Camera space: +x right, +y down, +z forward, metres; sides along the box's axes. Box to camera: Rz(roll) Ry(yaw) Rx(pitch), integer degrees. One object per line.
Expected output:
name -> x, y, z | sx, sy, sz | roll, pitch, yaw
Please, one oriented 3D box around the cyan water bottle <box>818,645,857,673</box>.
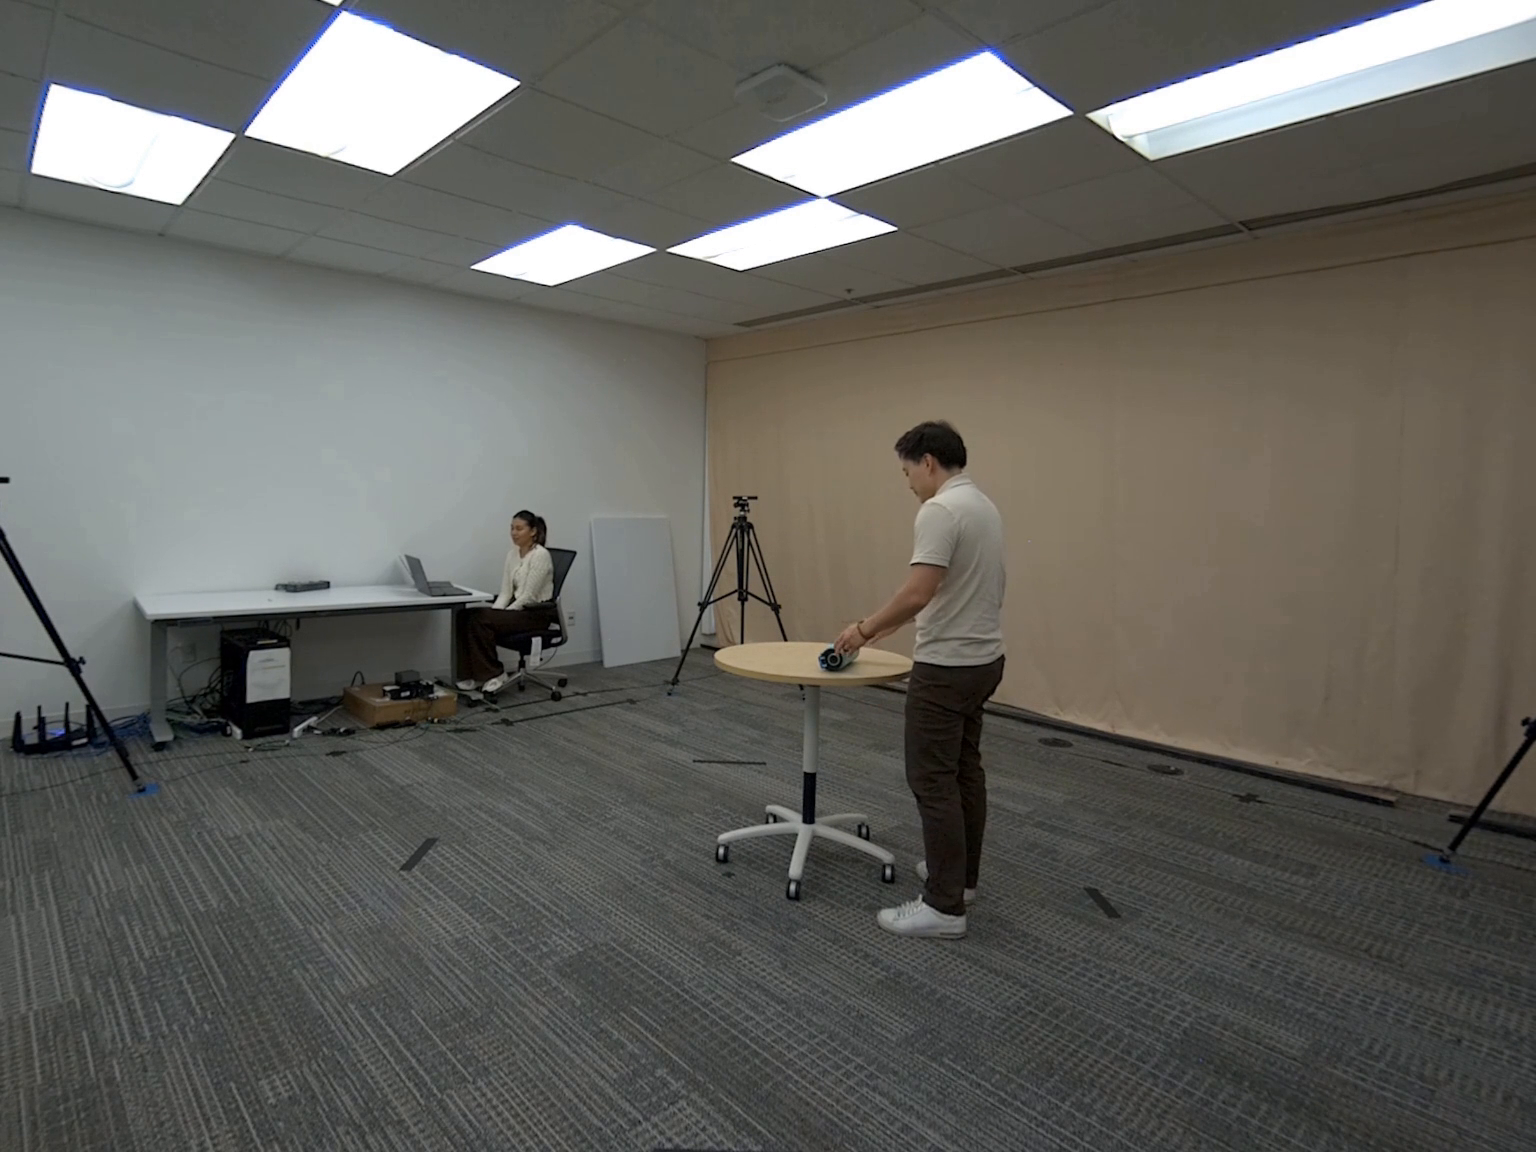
cyan water bottle -> 0.256, 0.286, 3.068 | 0.094, 0.092, 0.280 | 3, 5, 19
